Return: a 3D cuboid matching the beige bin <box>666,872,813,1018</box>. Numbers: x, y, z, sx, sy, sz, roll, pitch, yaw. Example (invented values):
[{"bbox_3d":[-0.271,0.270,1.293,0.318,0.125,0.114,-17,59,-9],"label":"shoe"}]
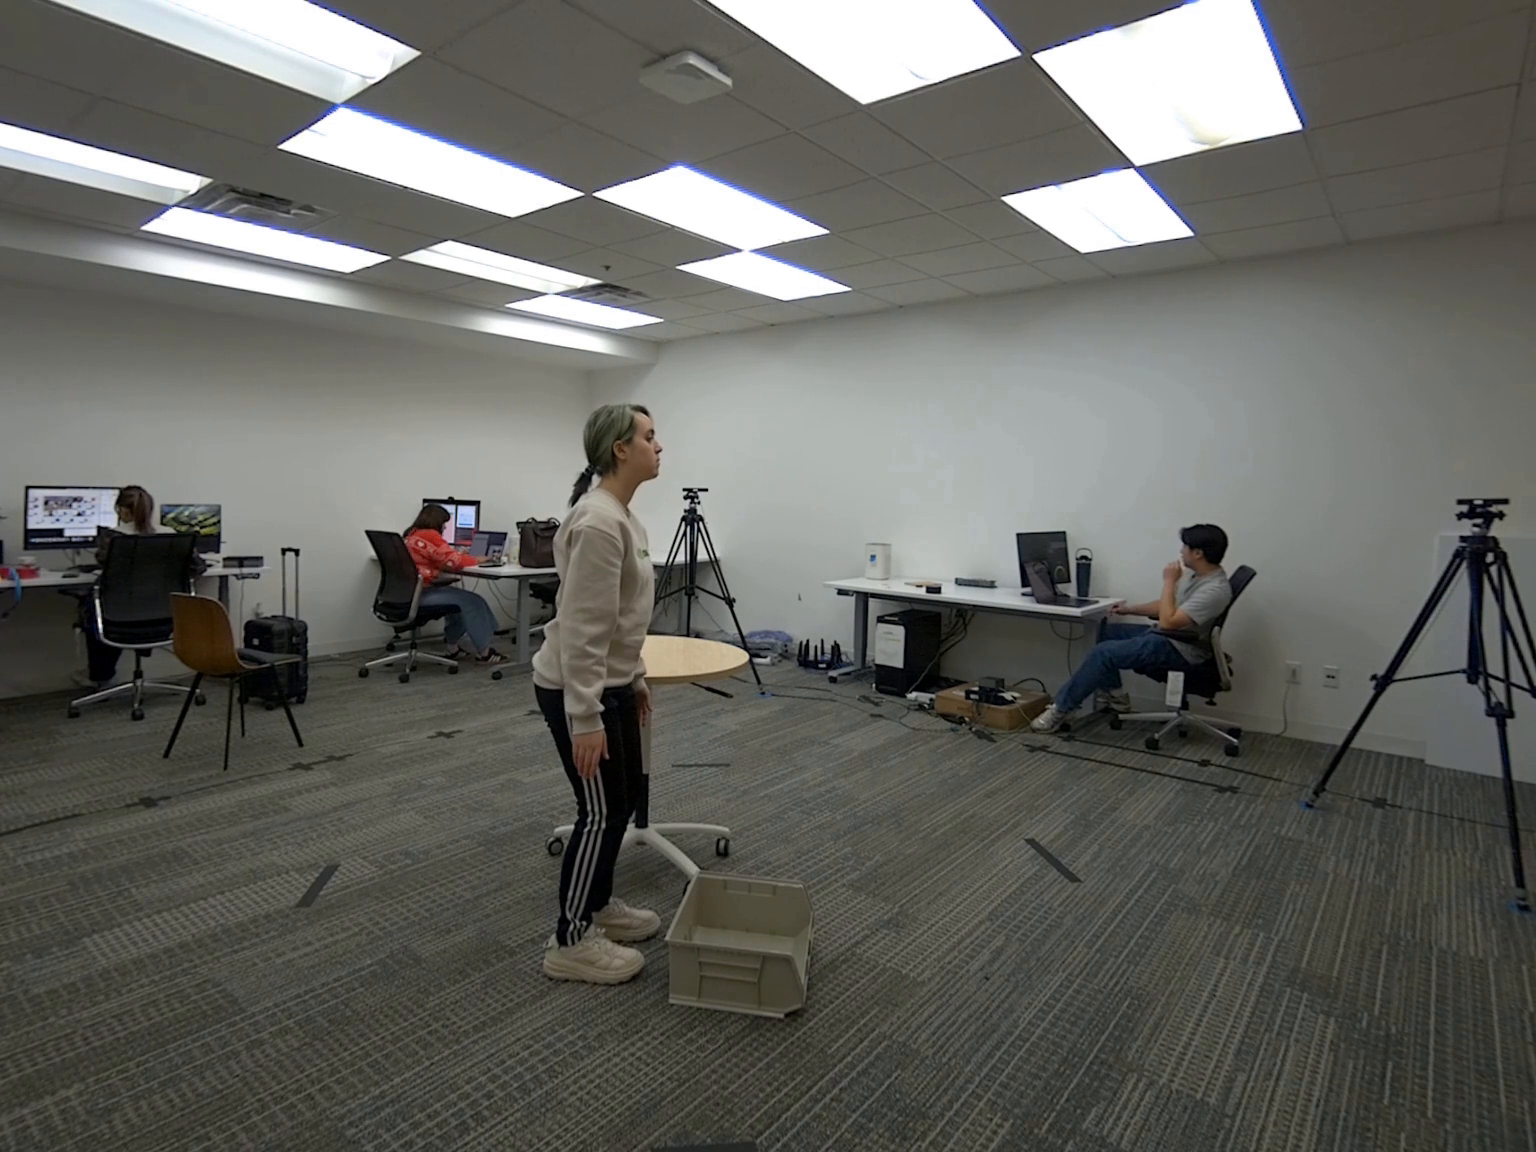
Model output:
[{"bbox_3d":[-0.073,1.050,2.452,0.381,0.188,0.420,1,6,8],"label":"beige bin"}]
